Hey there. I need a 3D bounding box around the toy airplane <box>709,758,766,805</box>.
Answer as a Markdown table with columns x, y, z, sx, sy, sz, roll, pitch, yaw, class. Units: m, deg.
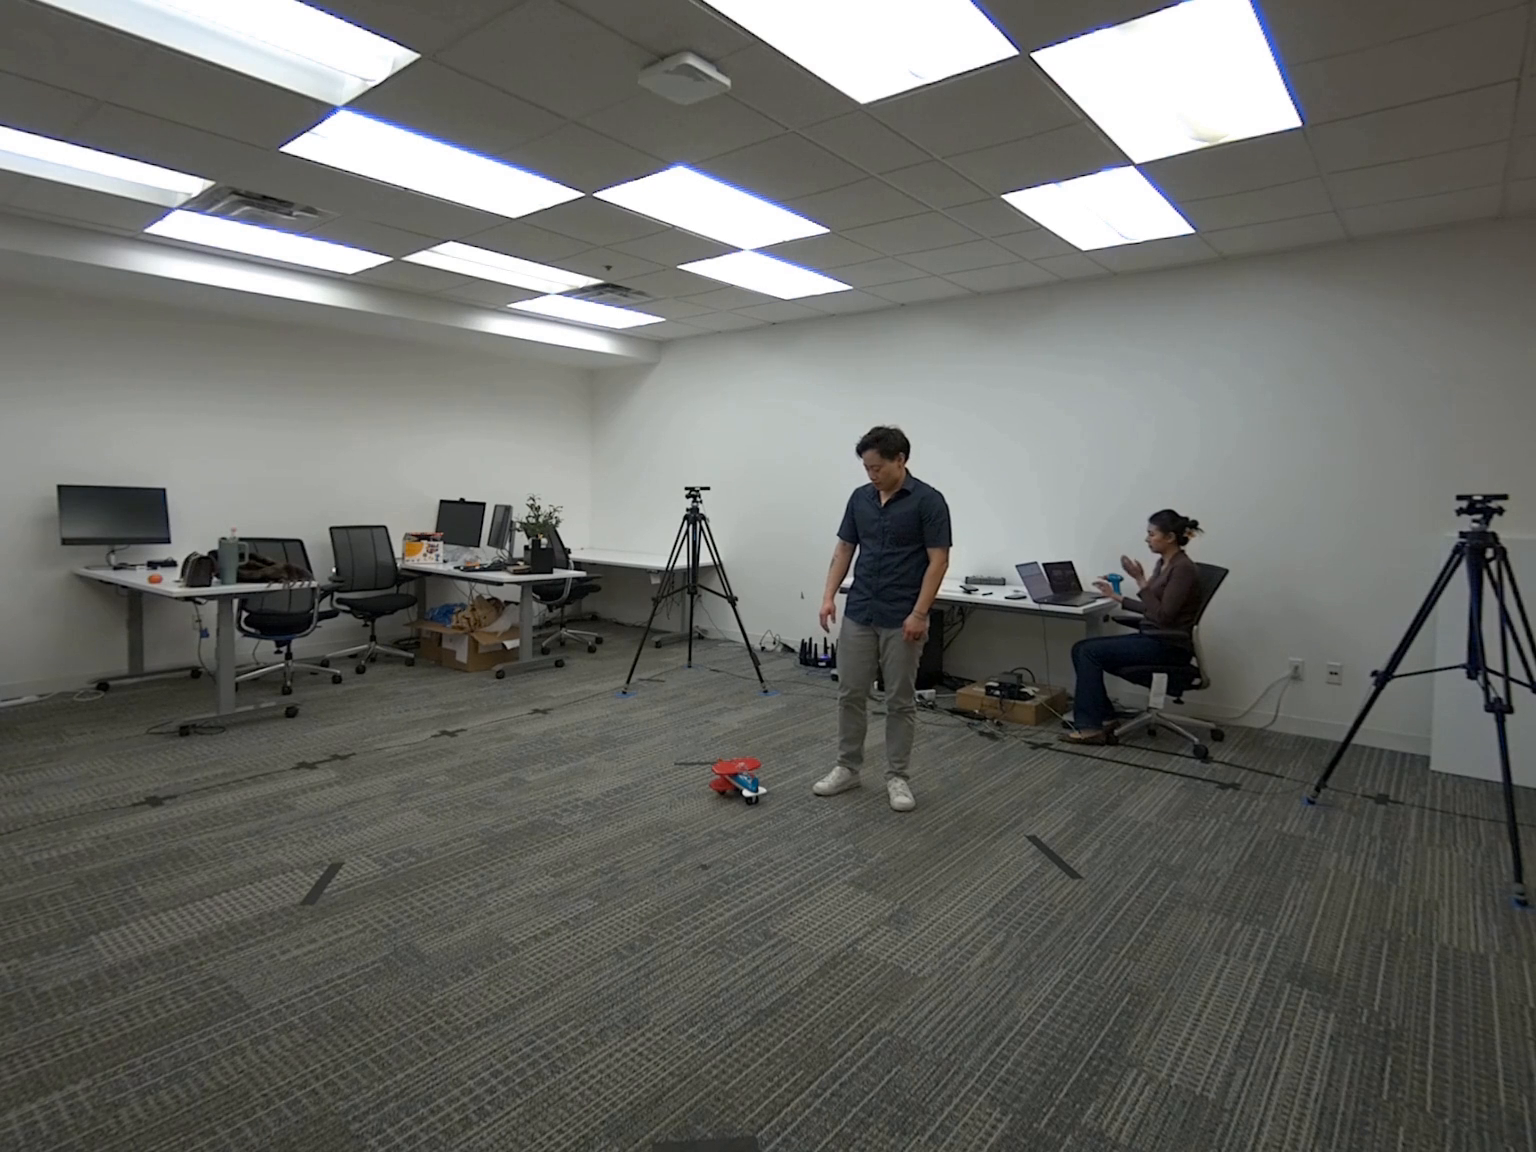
| x | y | z | sx | sy | sz | roll | pitch | yaw | class |
| --- | --- | --- | --- | --- | --- | --- | --- | --- | --- |
| -0.126 | 0.920 | 3.842 | 0.266 | 0.156 | 0.245 | 2 | 4 | 25 | toy airplane |
